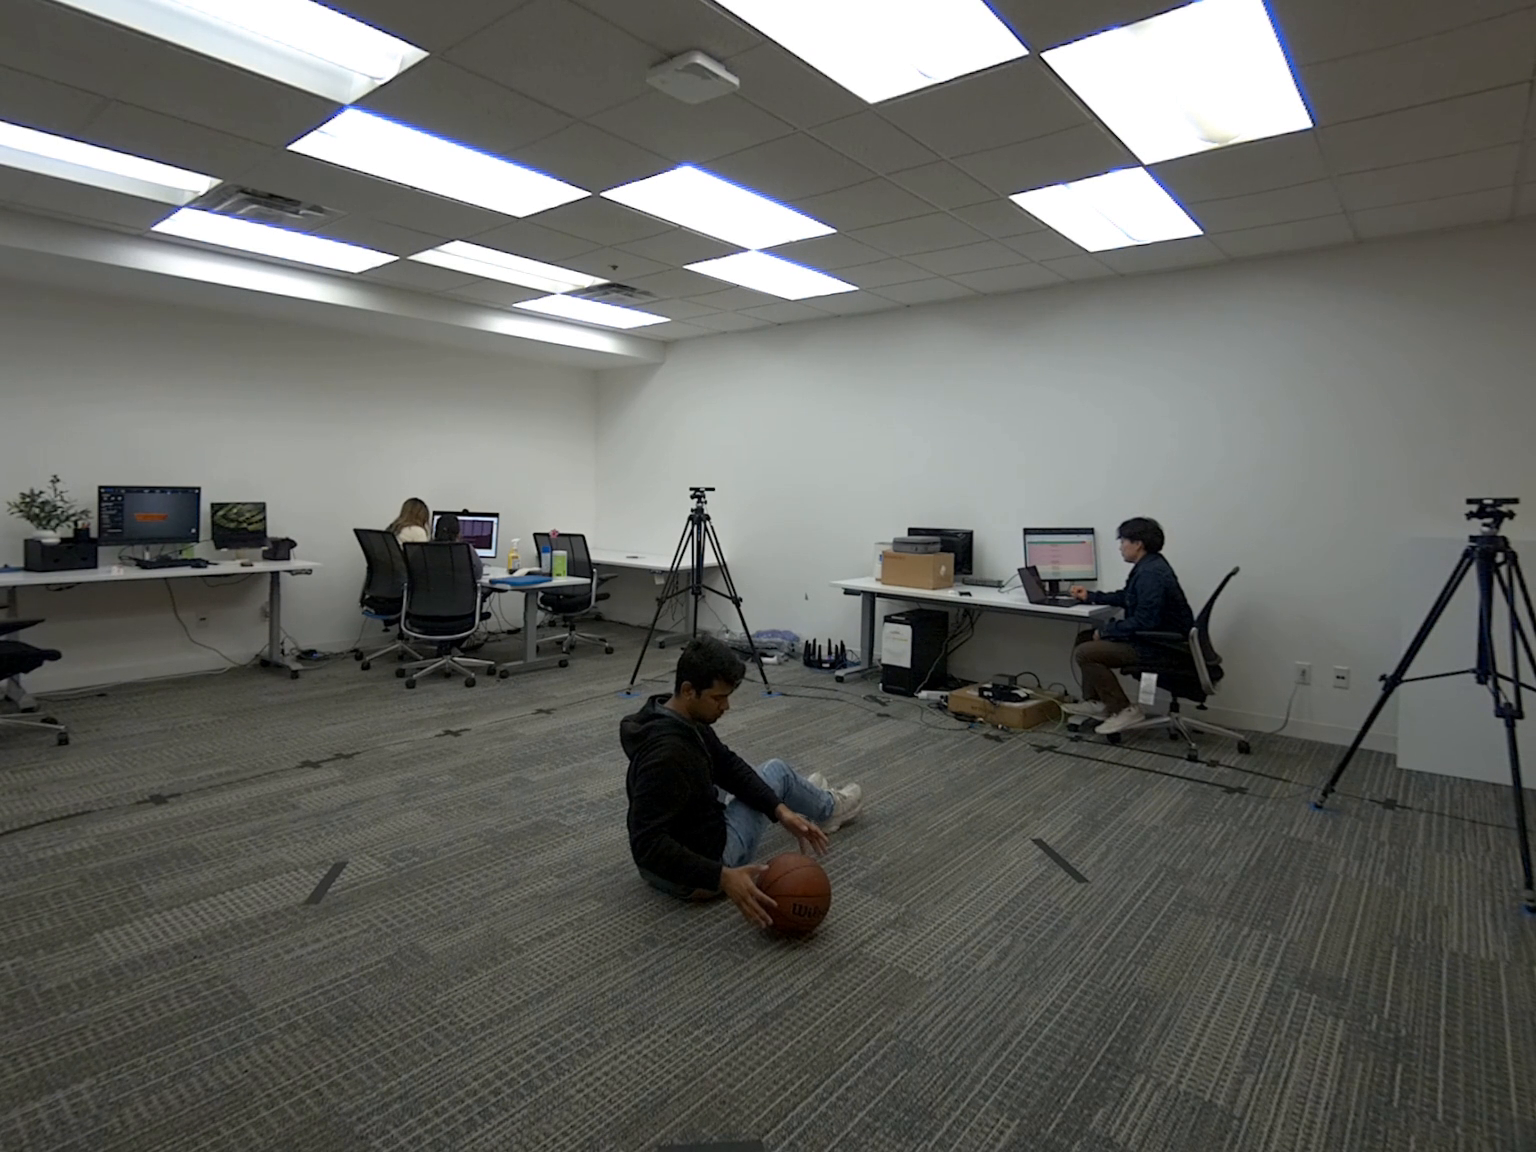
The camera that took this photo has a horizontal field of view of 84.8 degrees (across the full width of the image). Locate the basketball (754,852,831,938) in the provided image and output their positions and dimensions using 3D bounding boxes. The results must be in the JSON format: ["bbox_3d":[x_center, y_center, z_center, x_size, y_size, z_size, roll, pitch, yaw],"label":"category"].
[{"bbox_3d":[0.069,0.997,2.675,0.235,0.235,0.237,1,4,-2],"label":"basketball"}]
